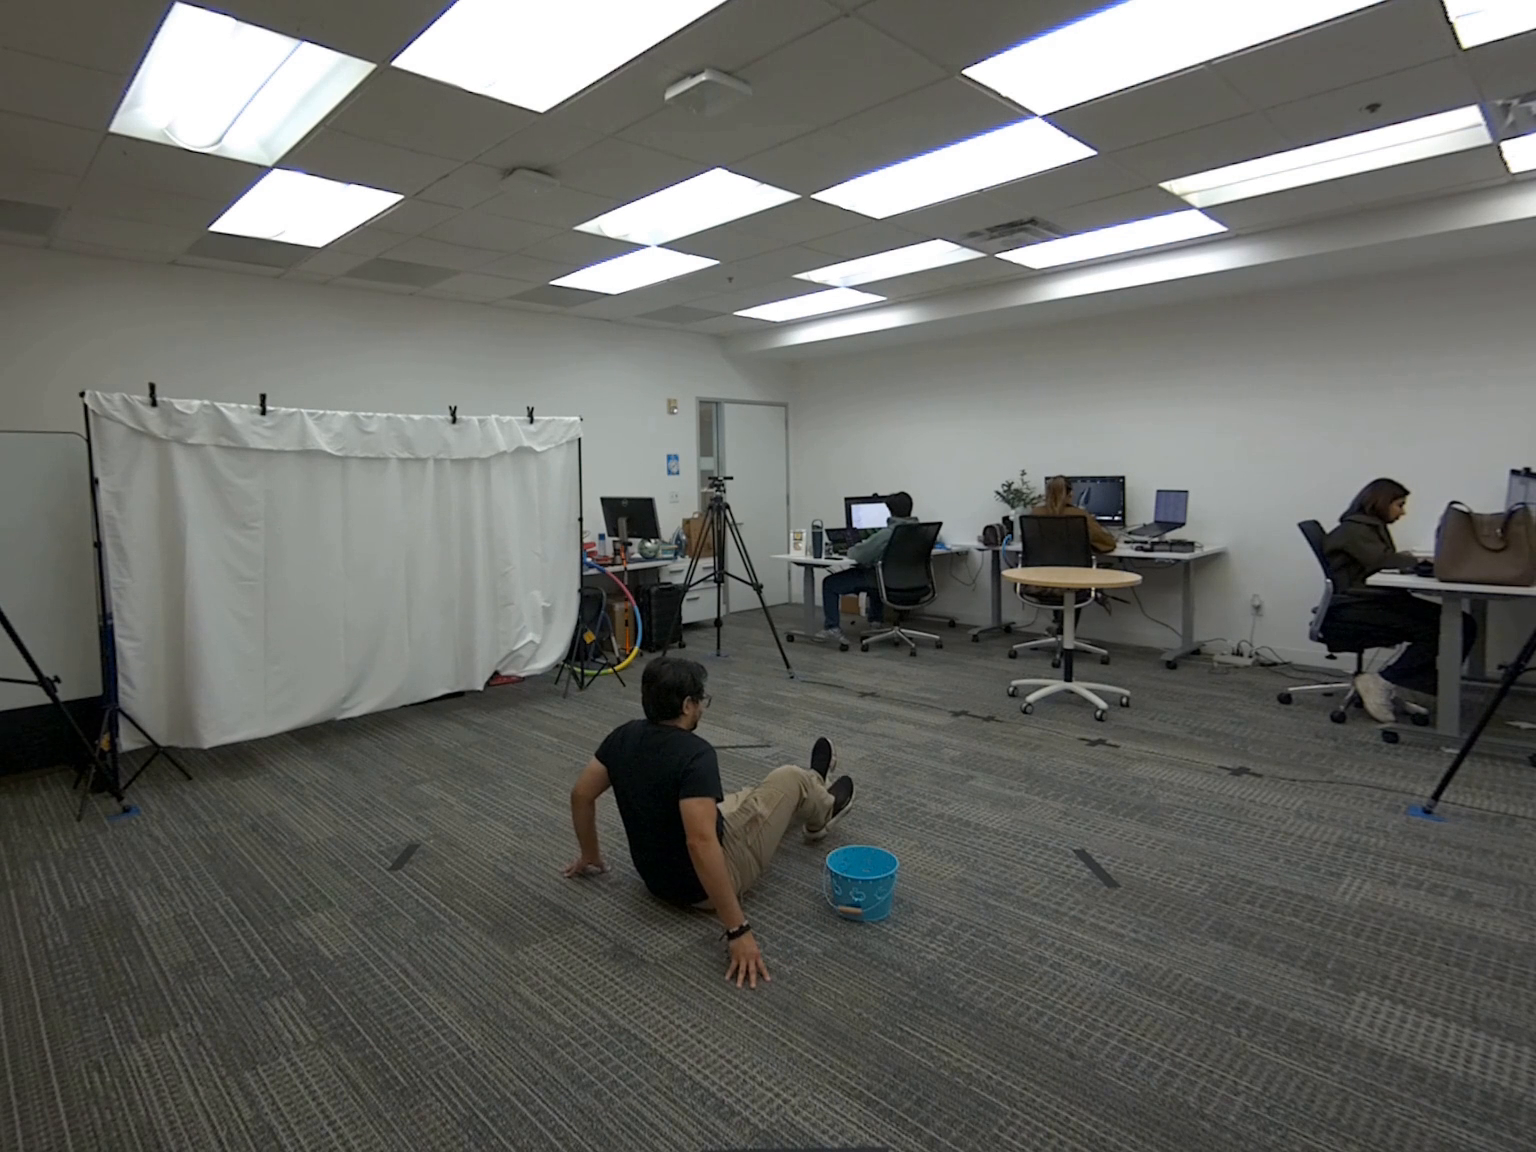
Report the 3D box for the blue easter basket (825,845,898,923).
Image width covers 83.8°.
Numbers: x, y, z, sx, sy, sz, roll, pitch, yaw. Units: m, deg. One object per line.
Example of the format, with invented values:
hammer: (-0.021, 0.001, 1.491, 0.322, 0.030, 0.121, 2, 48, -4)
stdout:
blue easter basket: (0.300, 0.989, 2.751, 0.243, 0.155, 0.245, -2, 6, -2)
